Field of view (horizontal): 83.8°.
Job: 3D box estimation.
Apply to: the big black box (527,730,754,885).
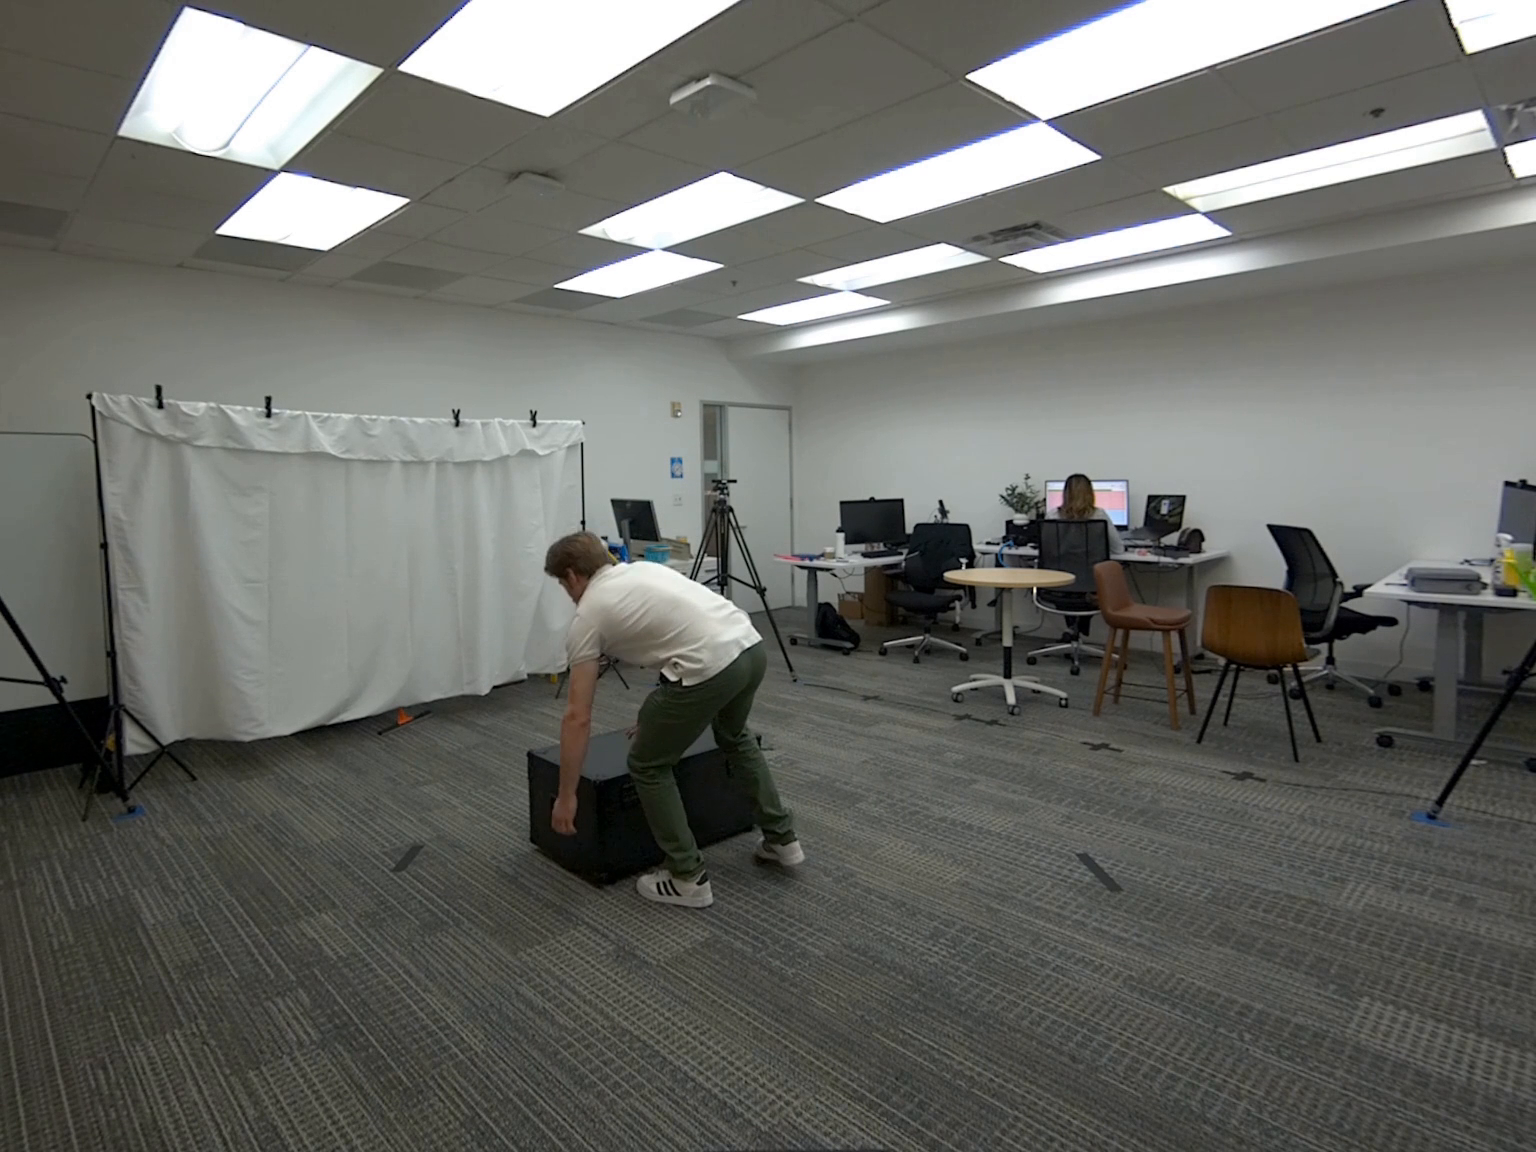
[{"bbox_3d":[-0.446,0.835,3.368,0.839,0.394,0.537,-8,8,-43],"label":"big black box"}]
